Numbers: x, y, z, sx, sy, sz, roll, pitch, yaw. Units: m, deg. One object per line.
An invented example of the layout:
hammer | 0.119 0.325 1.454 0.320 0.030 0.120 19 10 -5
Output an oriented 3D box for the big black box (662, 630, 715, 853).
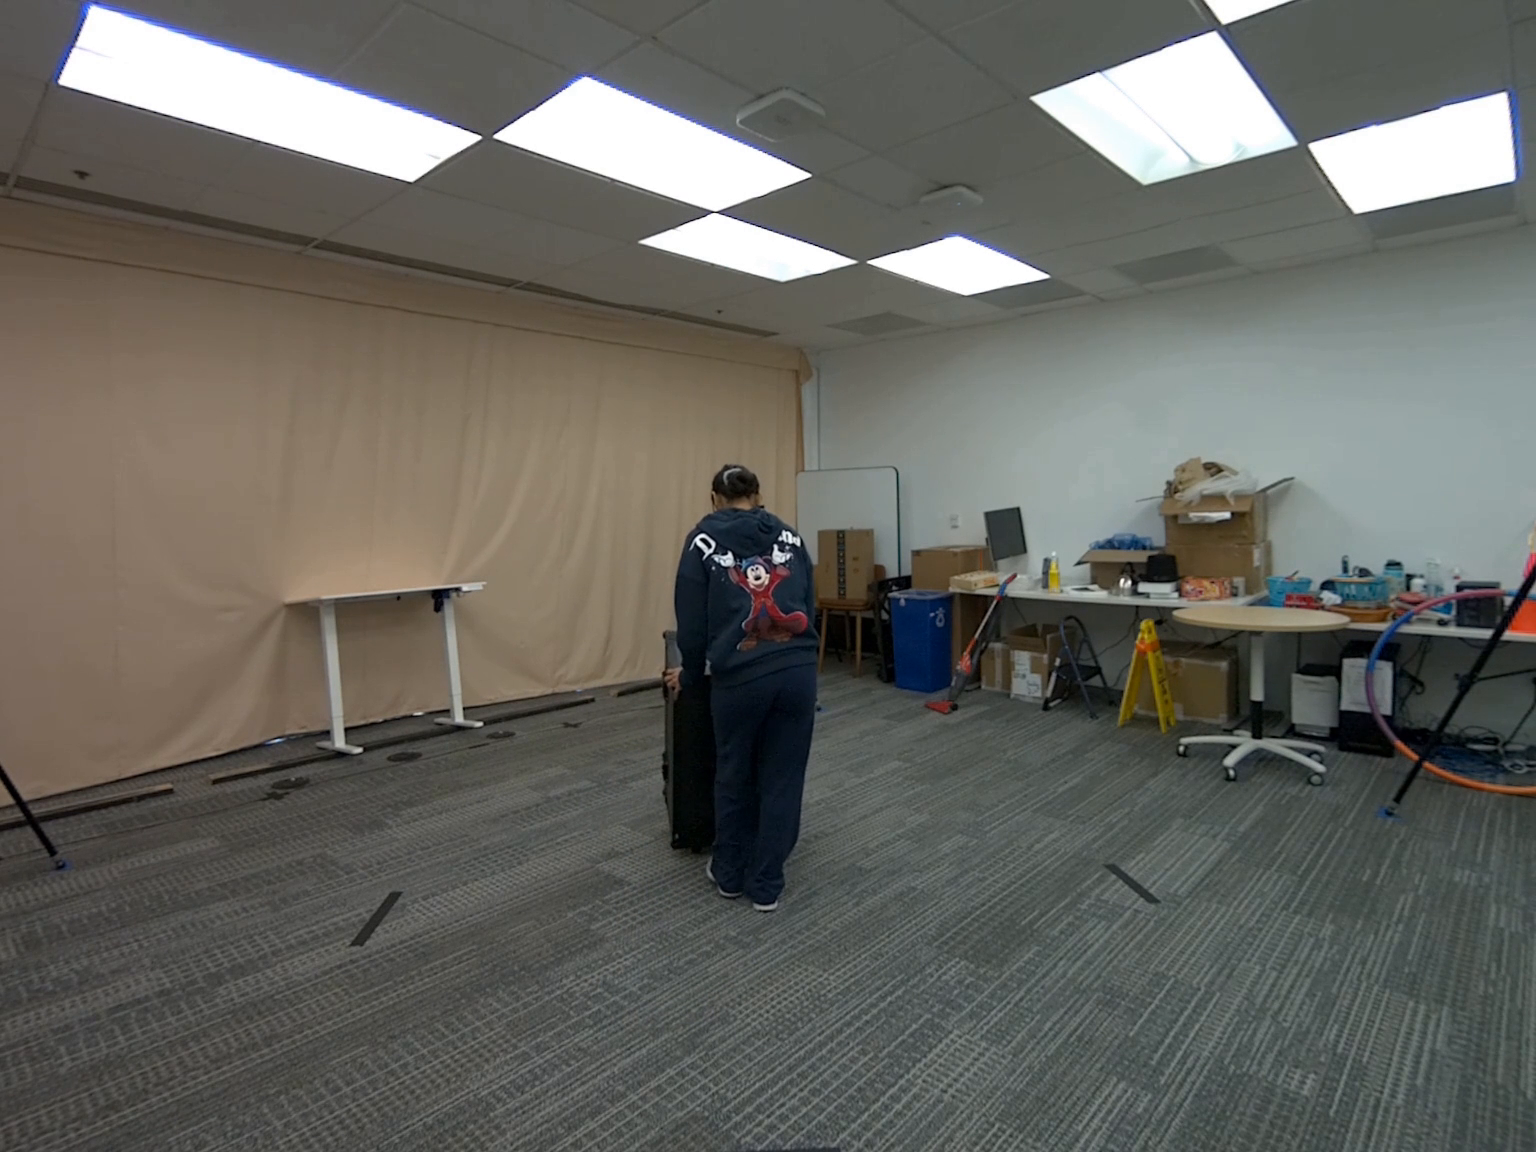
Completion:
big black box | -0.152 0.673 3.357 0.516 0.851 0.405 -1 23 -10
